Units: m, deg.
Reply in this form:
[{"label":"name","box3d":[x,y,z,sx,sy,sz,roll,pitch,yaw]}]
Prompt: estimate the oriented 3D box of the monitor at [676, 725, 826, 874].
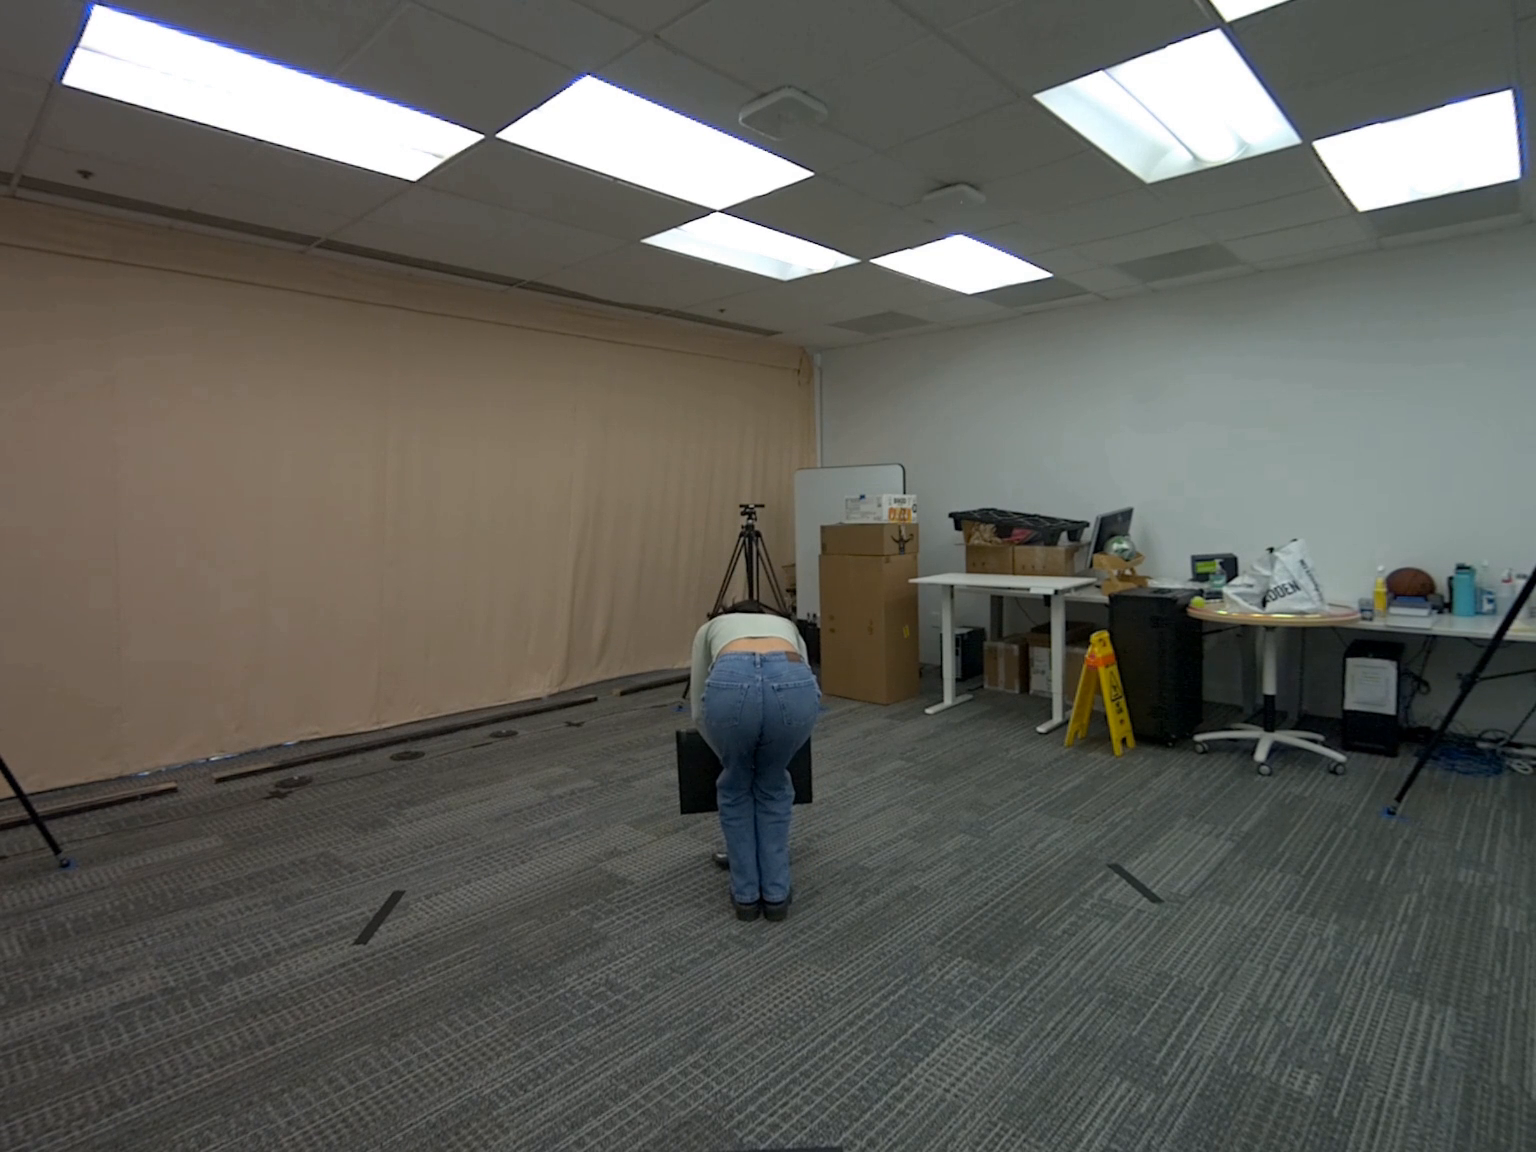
[{"label":"monitor","box3d":[-0.077,0.842,3.292,0.526,0.519,0.175,-3,-8,-6]}]
